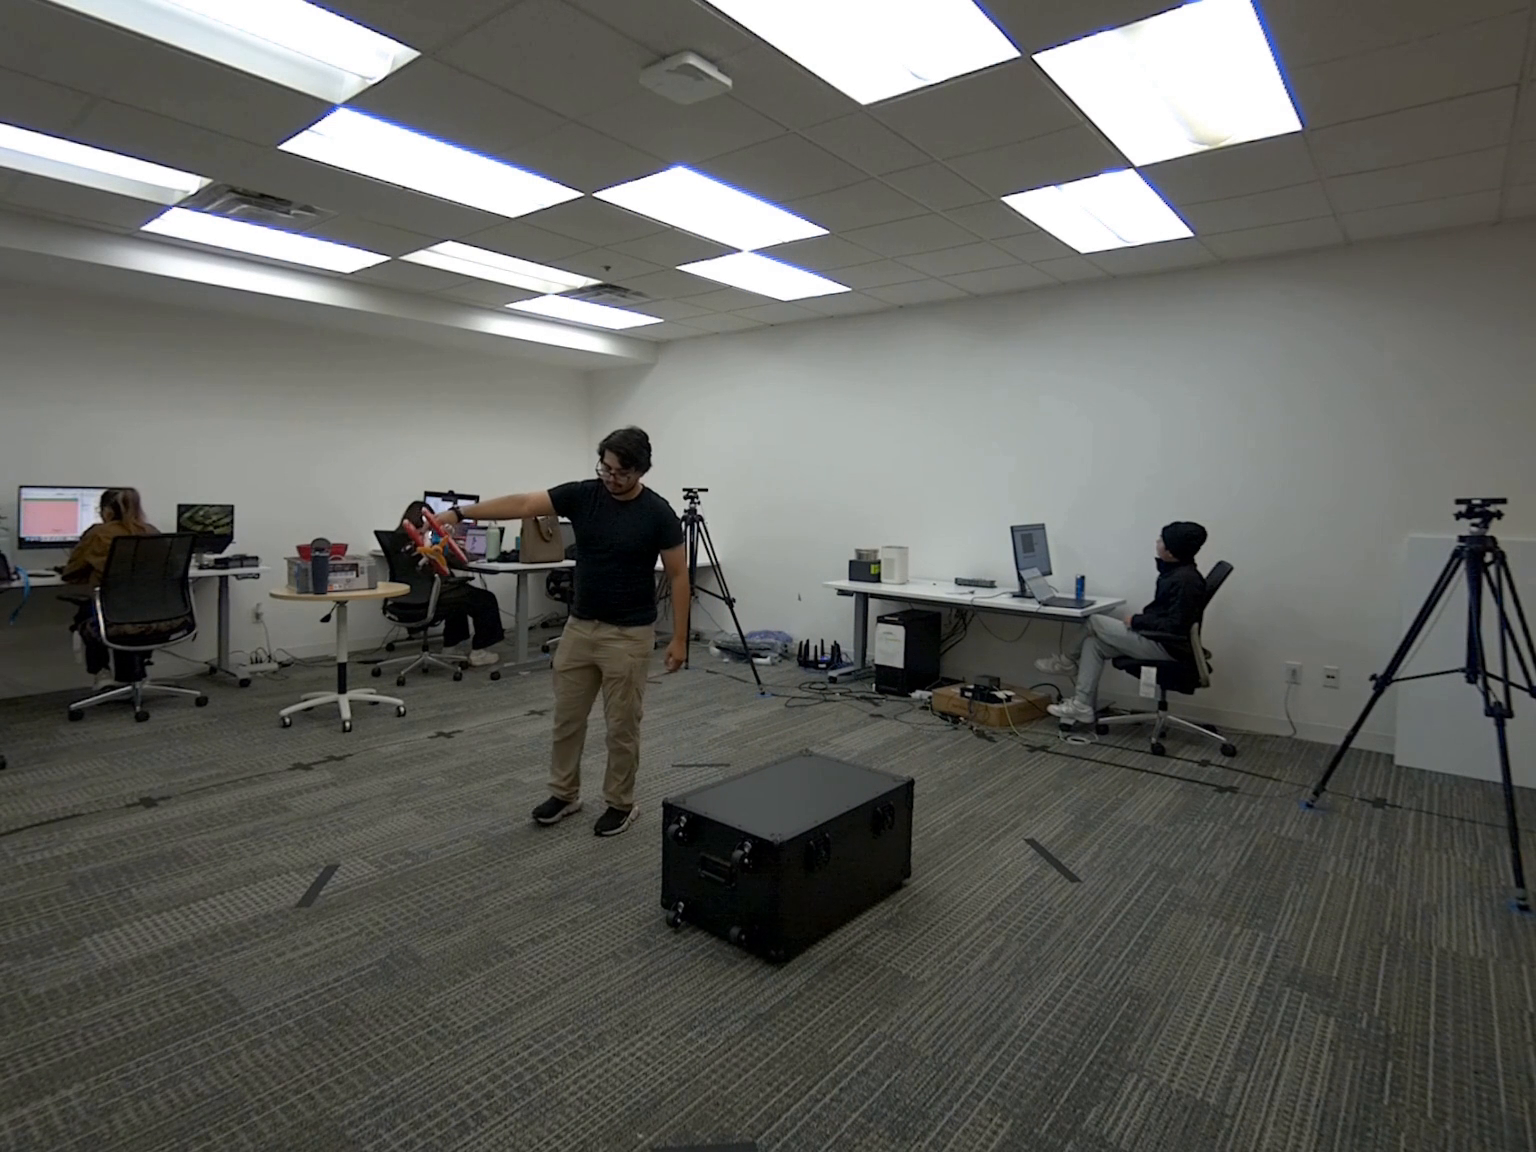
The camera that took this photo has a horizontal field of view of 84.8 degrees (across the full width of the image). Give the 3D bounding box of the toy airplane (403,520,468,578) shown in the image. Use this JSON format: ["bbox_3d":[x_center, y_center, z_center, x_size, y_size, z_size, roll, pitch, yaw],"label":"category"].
[{"bbox_3d":[-1.247,-0.138,3.106,0.157,0.269,0.241,-28,-35,3],"label":"toy airplane"}]
